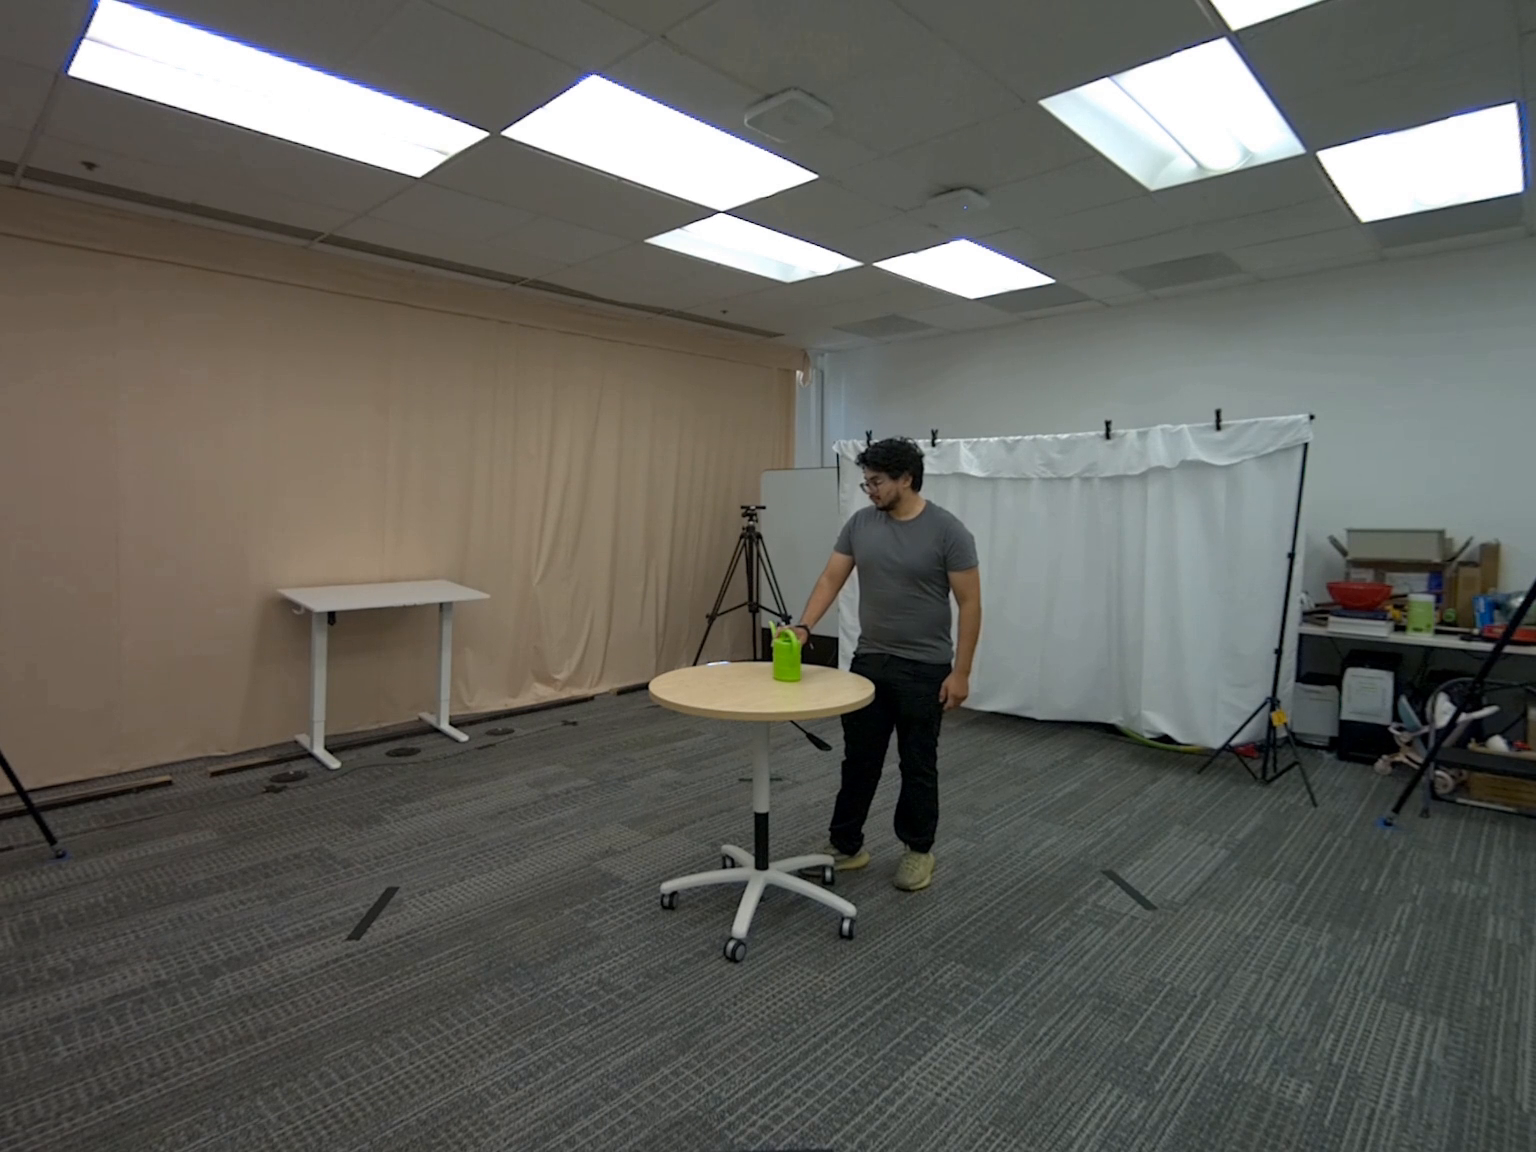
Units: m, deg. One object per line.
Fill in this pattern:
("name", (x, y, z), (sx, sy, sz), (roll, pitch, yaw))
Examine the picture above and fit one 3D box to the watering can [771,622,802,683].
("watering can", (0.063, 0.273, 3.012), (0.097, 0.176, 0.281), (-1, 6, -6))
